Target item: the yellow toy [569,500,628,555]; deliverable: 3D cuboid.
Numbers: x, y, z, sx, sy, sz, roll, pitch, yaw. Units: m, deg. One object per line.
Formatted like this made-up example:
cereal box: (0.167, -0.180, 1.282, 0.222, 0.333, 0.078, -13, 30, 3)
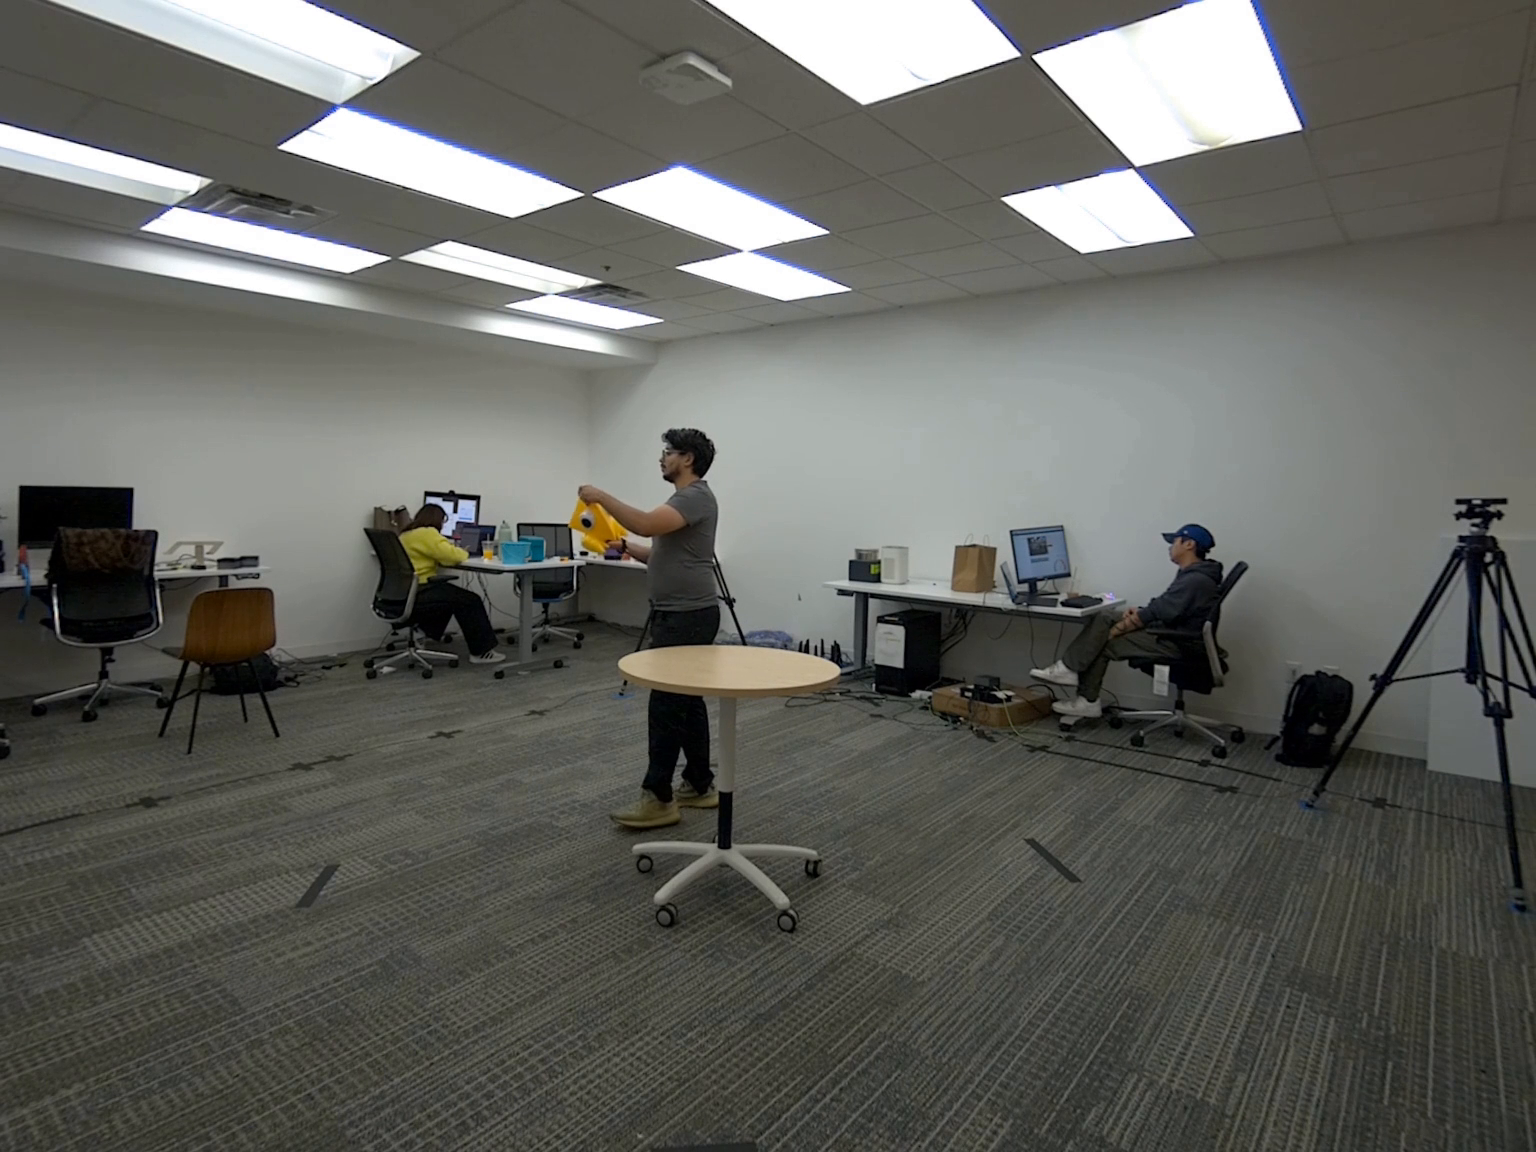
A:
yellow toy: (-0.743, -0.258, 3.629, 0.201, 0.223, 0.203, 29, 55, 35)
